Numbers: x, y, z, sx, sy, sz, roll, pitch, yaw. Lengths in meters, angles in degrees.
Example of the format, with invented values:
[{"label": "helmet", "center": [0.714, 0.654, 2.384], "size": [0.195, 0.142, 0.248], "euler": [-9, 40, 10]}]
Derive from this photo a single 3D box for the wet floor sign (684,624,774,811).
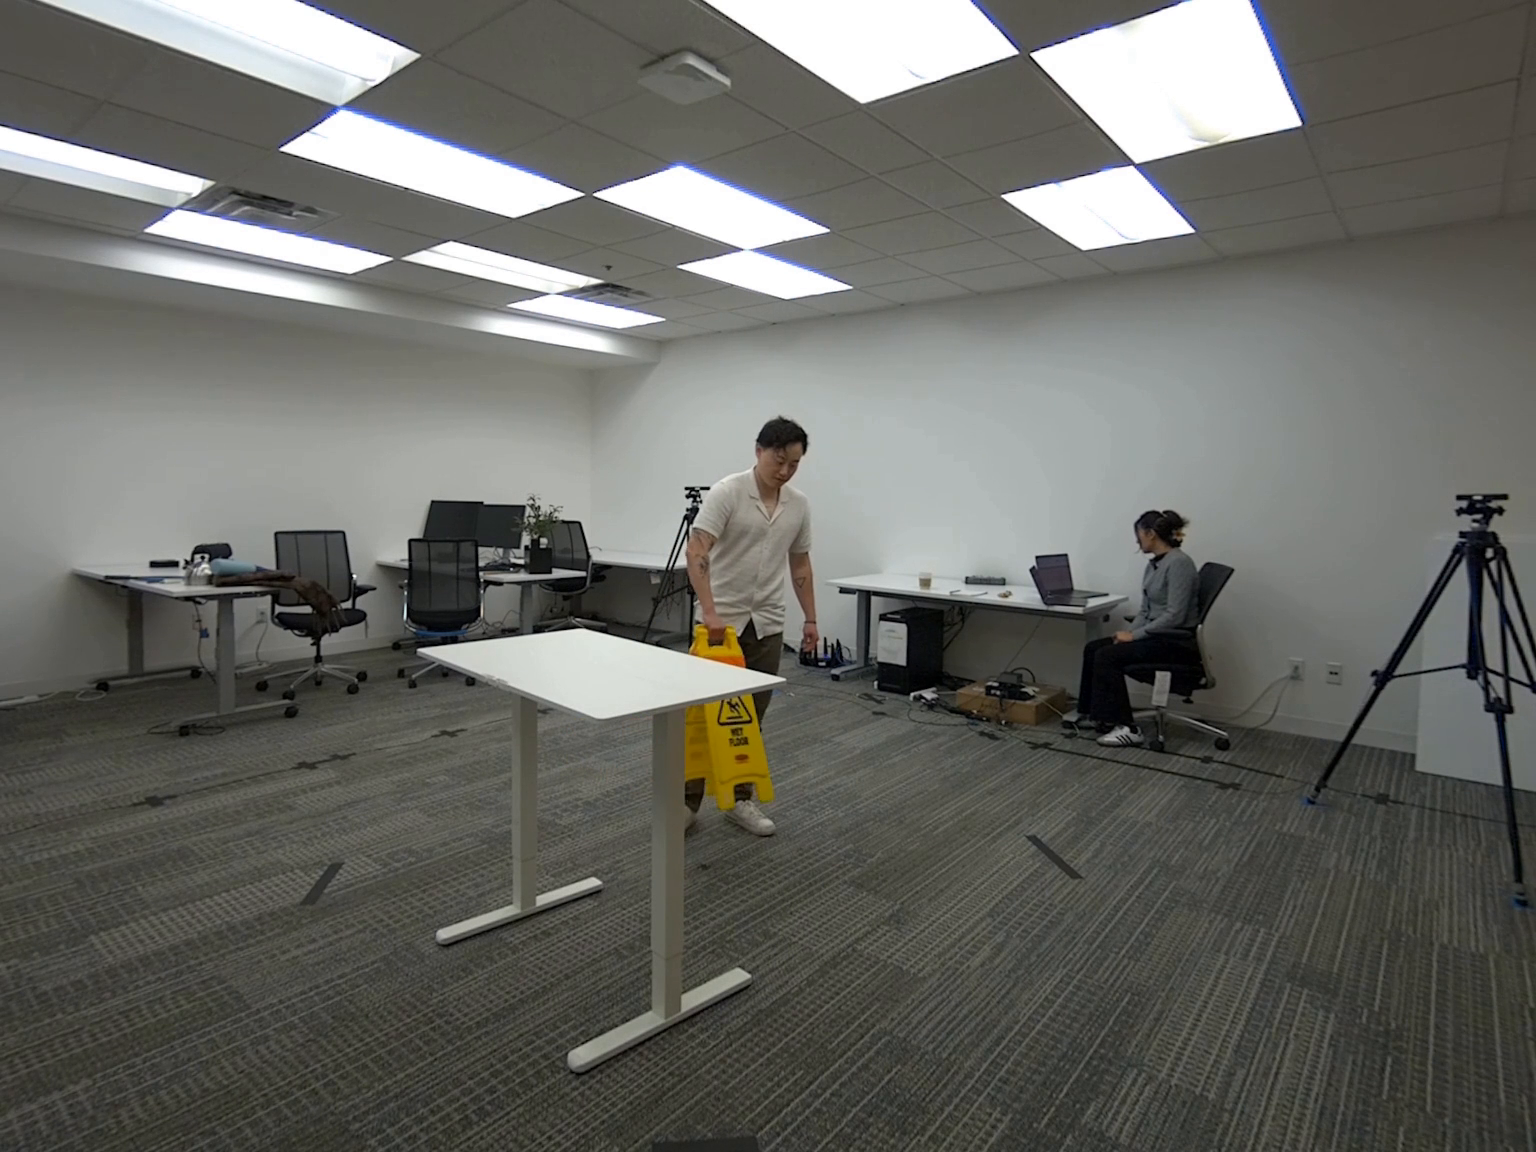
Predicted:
[{"label": "wet floor sign", "center": [-0.197, 0.499, 3.172], "size": [0.273, 0.651, 0.297], "euler": [5, -11, -44]}]
